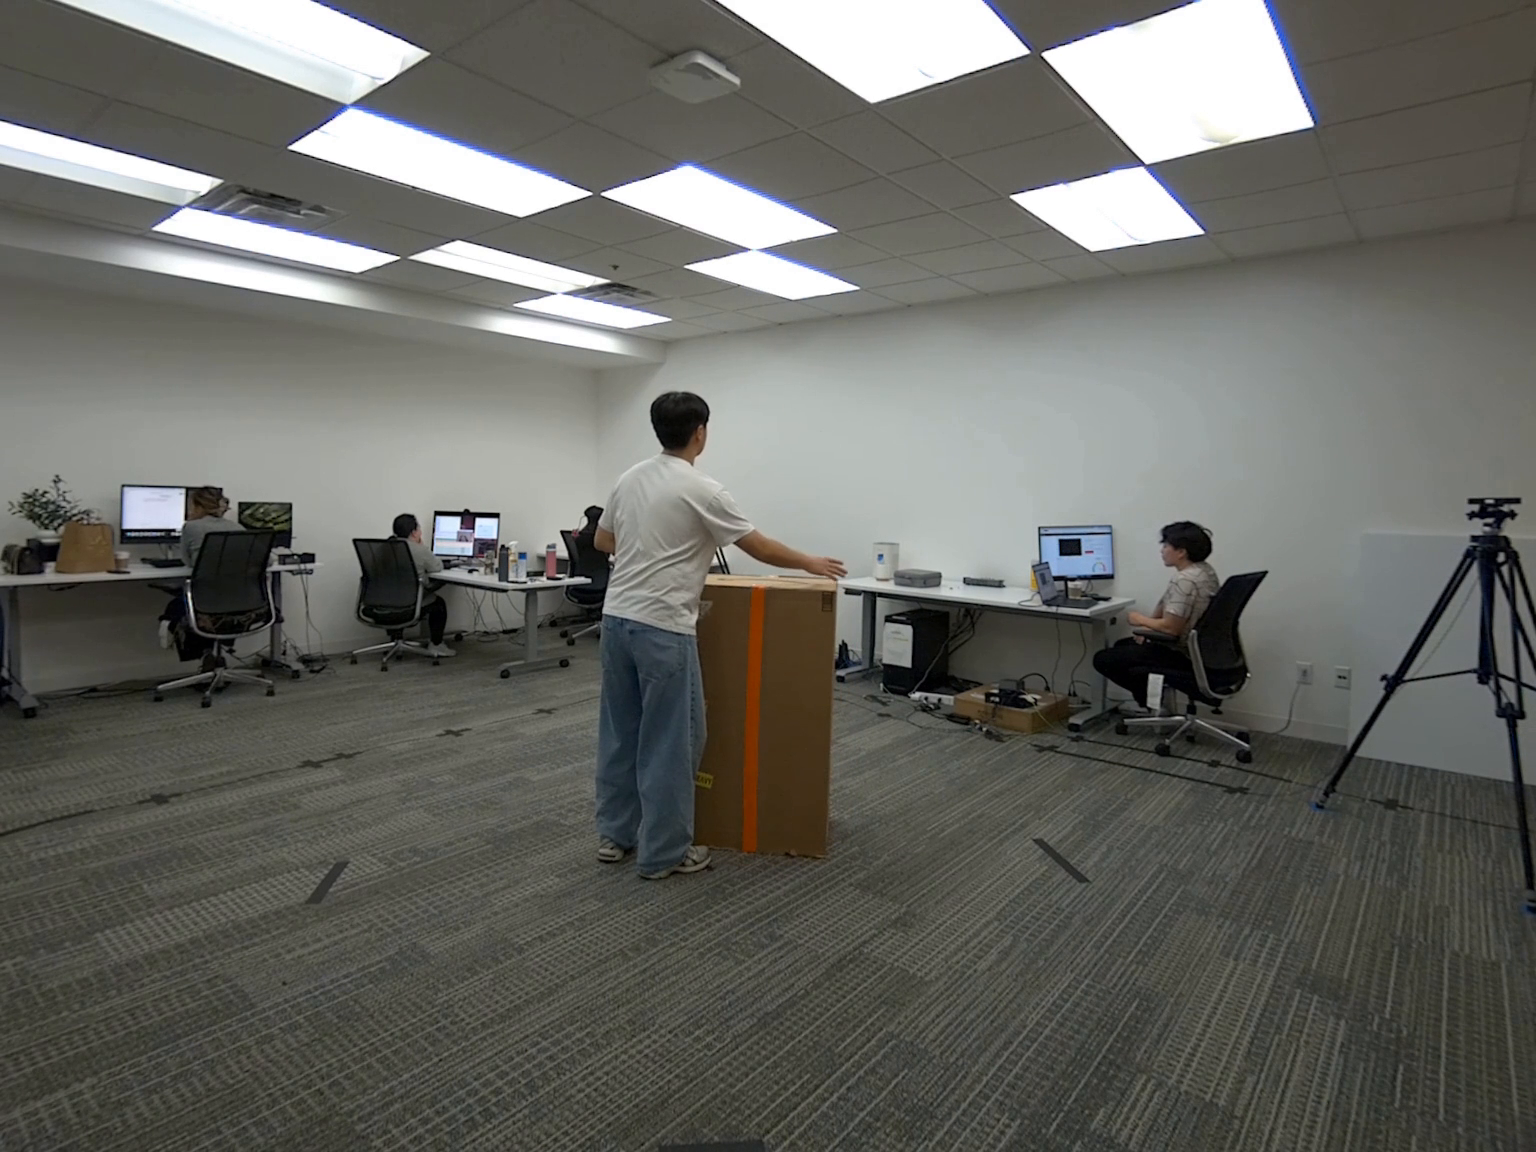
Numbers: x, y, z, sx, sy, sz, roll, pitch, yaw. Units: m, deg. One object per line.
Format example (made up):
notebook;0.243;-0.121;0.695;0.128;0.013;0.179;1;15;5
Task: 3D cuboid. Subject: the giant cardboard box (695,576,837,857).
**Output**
giant cardboard box;-0.031;0.526;3.443;0.584;1.022;0.423;2;4;9
